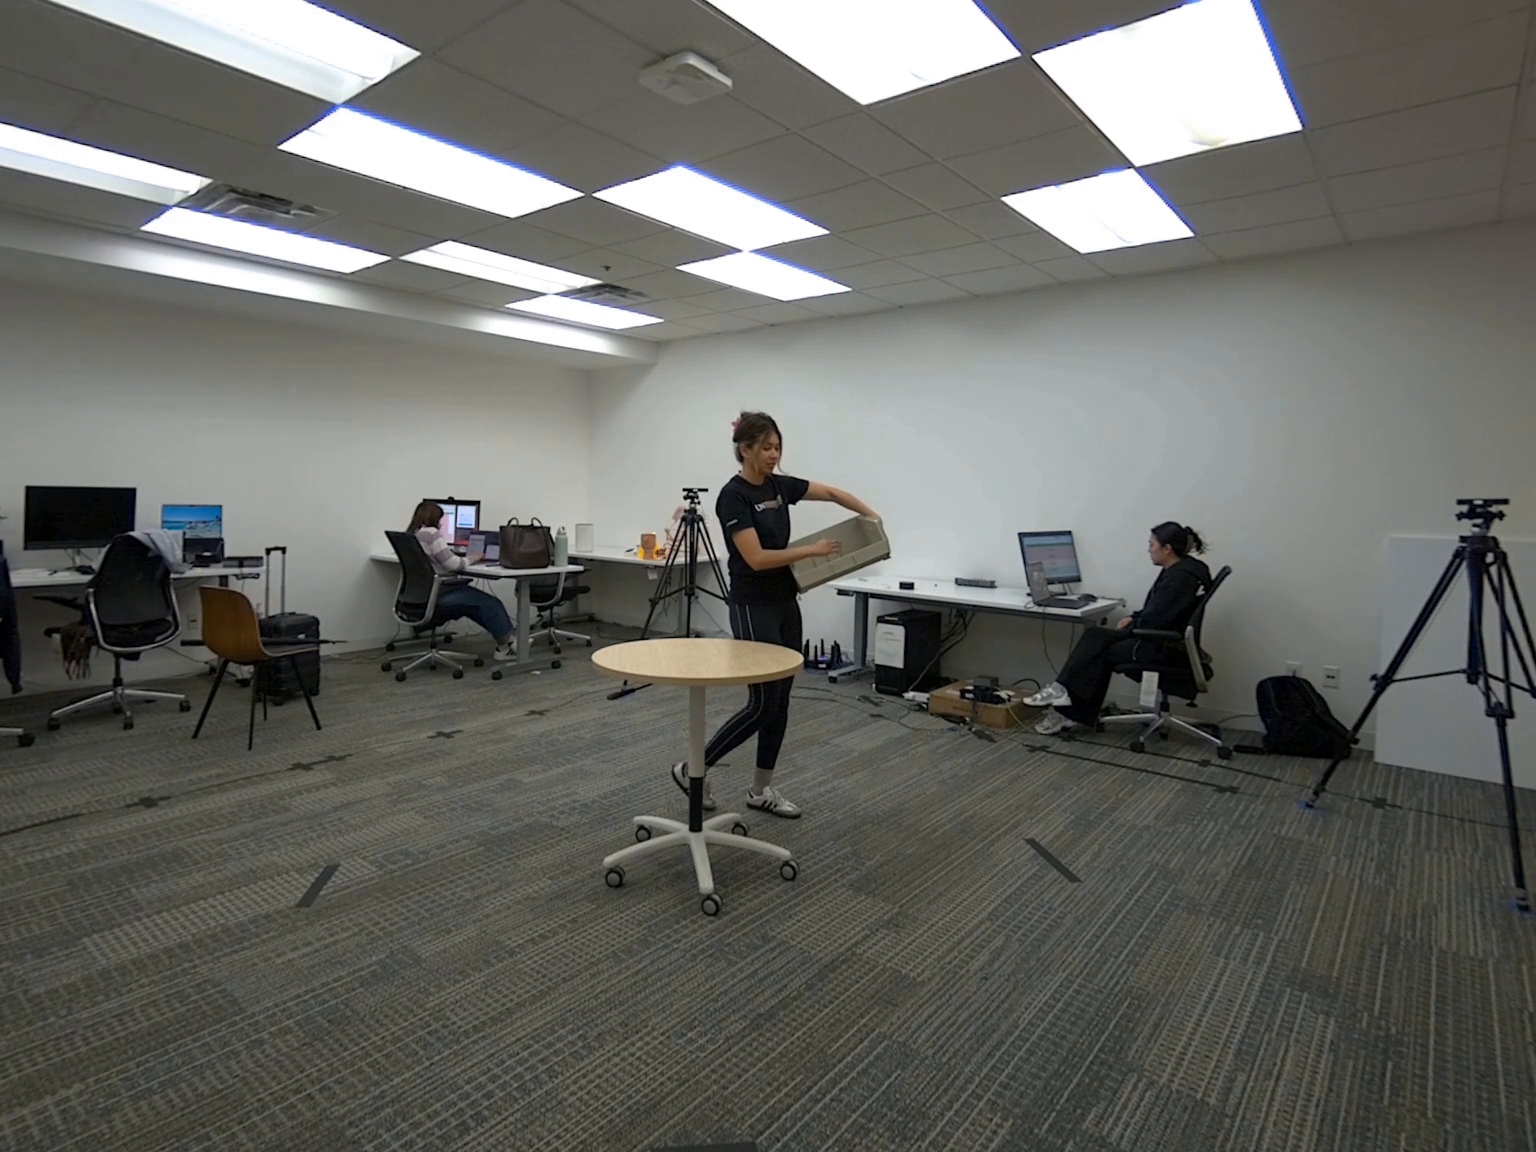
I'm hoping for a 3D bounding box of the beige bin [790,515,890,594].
[{"bbox_3d":[0.269,-0.101,3.676,0.422,0.188,0.380,-23,7,-2],"label":"beige bin"}]
